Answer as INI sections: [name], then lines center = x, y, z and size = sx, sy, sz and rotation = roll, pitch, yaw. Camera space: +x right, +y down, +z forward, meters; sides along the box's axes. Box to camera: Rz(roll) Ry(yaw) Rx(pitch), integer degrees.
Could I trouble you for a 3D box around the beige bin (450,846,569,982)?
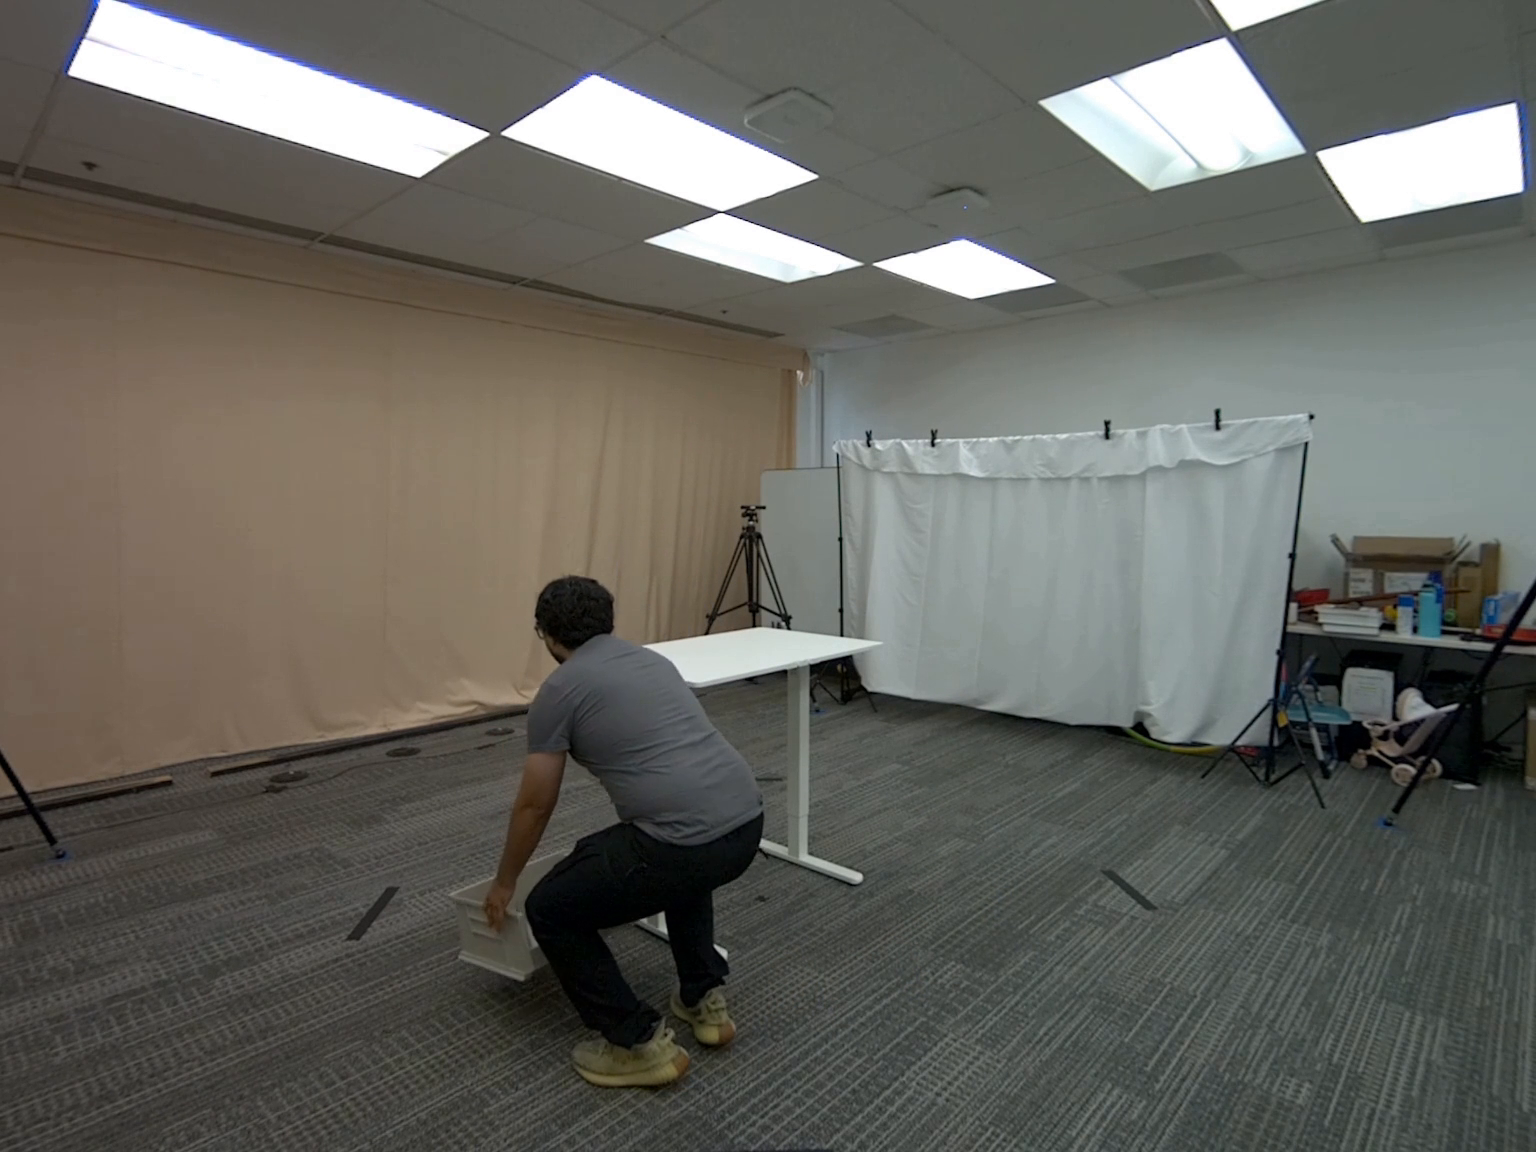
[beige bin]
center = -0.633, 0.961, 2.430
size = 0.388, 0.189, 0.410
rotation = -10, -2, 42
